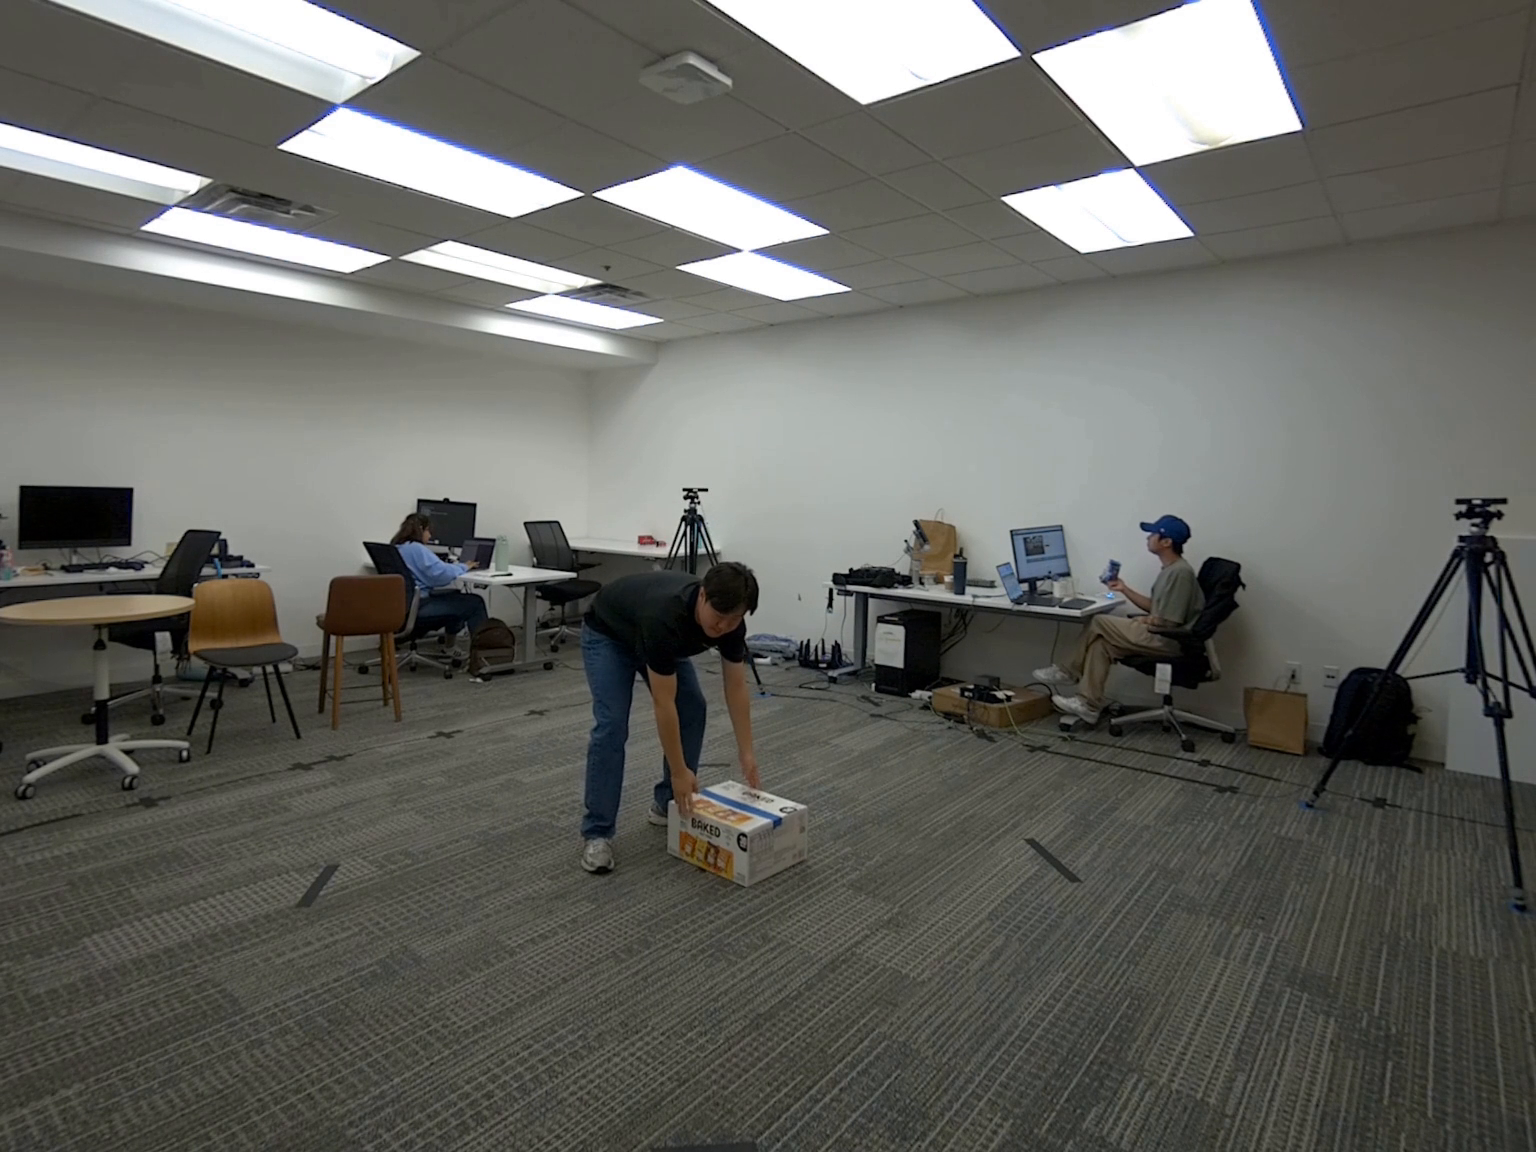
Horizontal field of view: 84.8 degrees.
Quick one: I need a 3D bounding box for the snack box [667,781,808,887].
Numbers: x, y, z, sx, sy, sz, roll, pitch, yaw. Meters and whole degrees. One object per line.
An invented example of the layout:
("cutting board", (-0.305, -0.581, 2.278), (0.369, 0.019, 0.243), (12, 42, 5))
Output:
("snack box", (-0.125, 0.956, 3.212), (0.419, 0.205, 0.330), (6, 7, 42))
